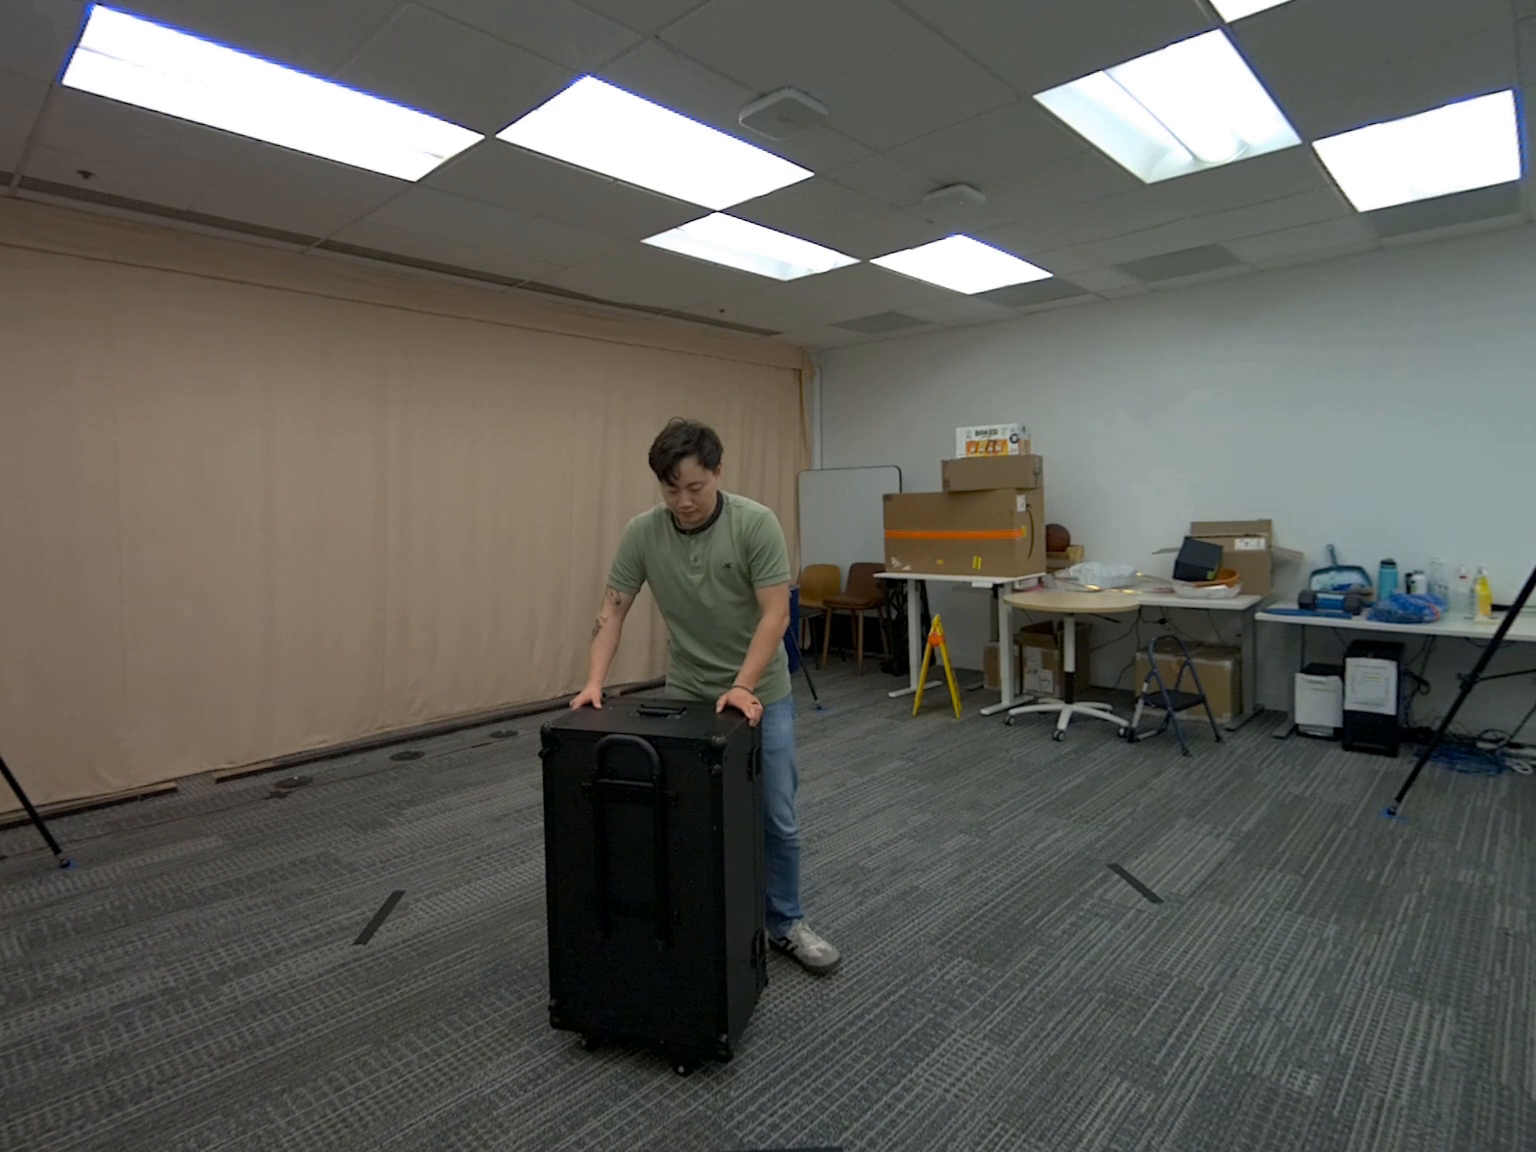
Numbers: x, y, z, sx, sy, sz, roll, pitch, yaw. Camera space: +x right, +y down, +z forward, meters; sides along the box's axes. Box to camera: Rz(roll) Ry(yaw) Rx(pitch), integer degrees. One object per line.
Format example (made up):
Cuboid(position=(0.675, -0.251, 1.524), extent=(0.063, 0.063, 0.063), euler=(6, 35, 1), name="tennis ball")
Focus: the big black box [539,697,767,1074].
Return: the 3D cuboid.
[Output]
Cuboid(position=(-0.287, 0.791, 2.199), extent=(0.531, 0.859, 0.389), euler=(0, 4, 18), name="big black box")
